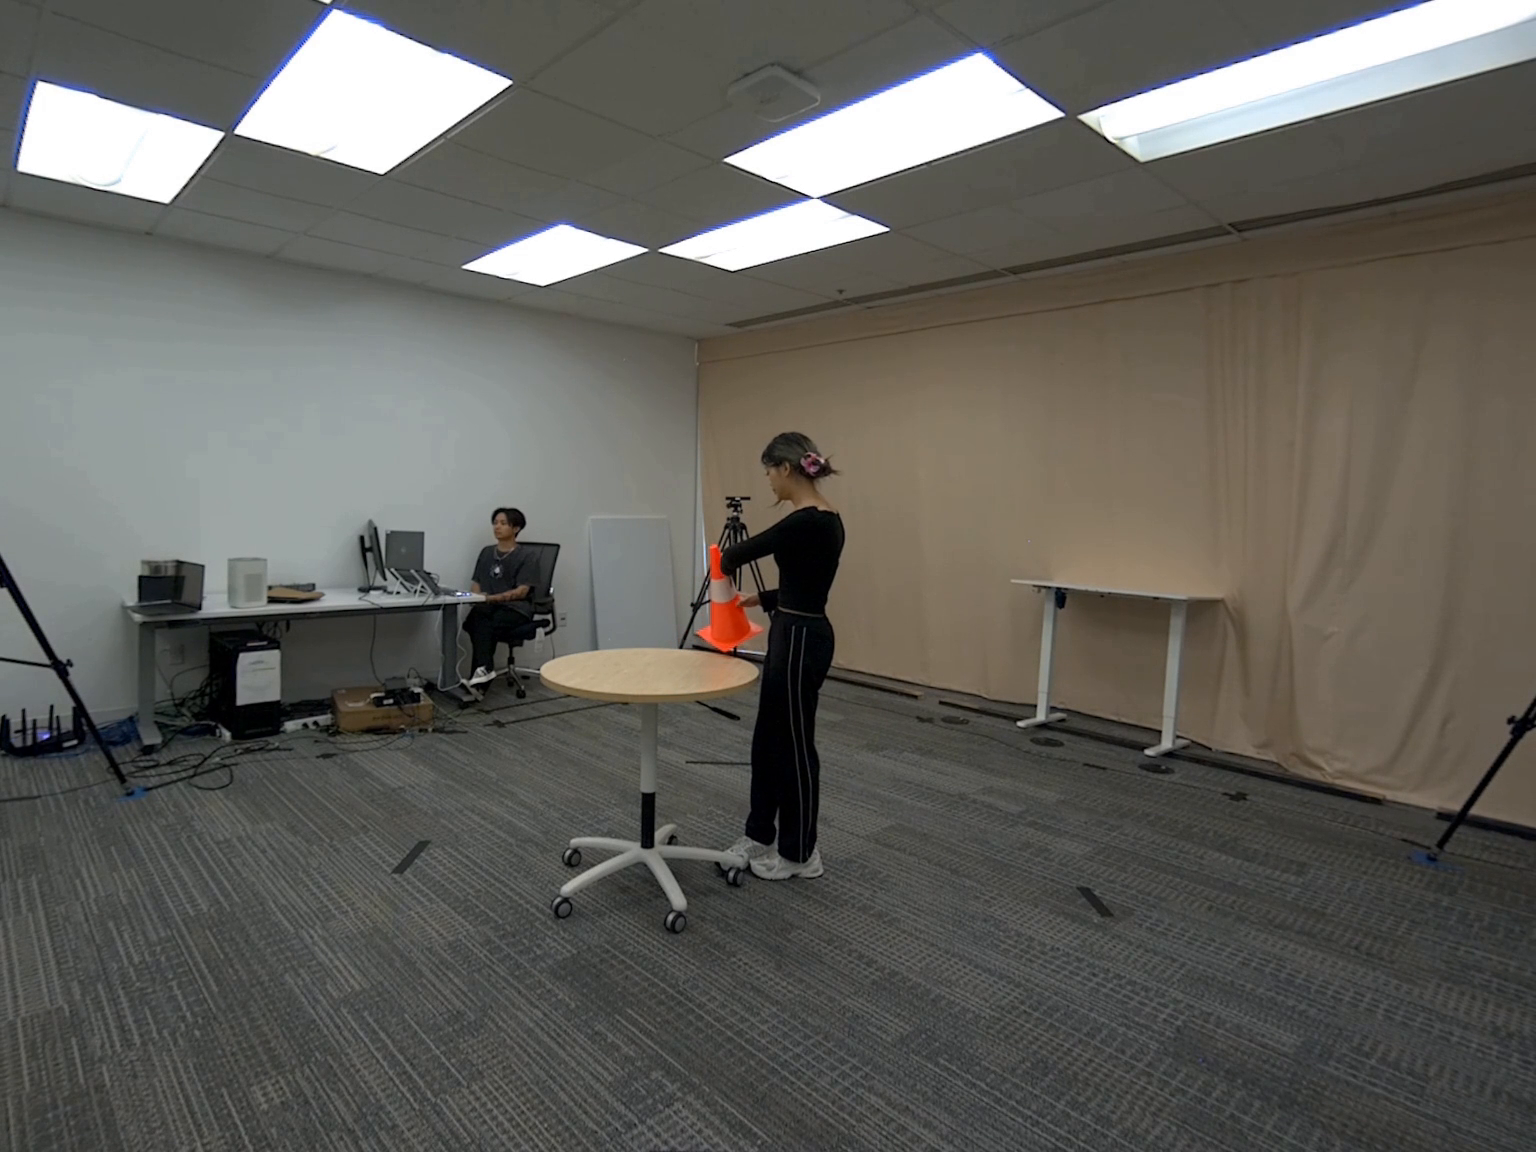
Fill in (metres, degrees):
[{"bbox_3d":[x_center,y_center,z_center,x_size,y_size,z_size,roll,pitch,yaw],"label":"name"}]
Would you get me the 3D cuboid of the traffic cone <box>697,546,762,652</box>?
[{"bbox_3d":[-0.175,0.058,3.203,0.201,0.376,0.211,-31,34,-35],"label":"traffic cone"}]
